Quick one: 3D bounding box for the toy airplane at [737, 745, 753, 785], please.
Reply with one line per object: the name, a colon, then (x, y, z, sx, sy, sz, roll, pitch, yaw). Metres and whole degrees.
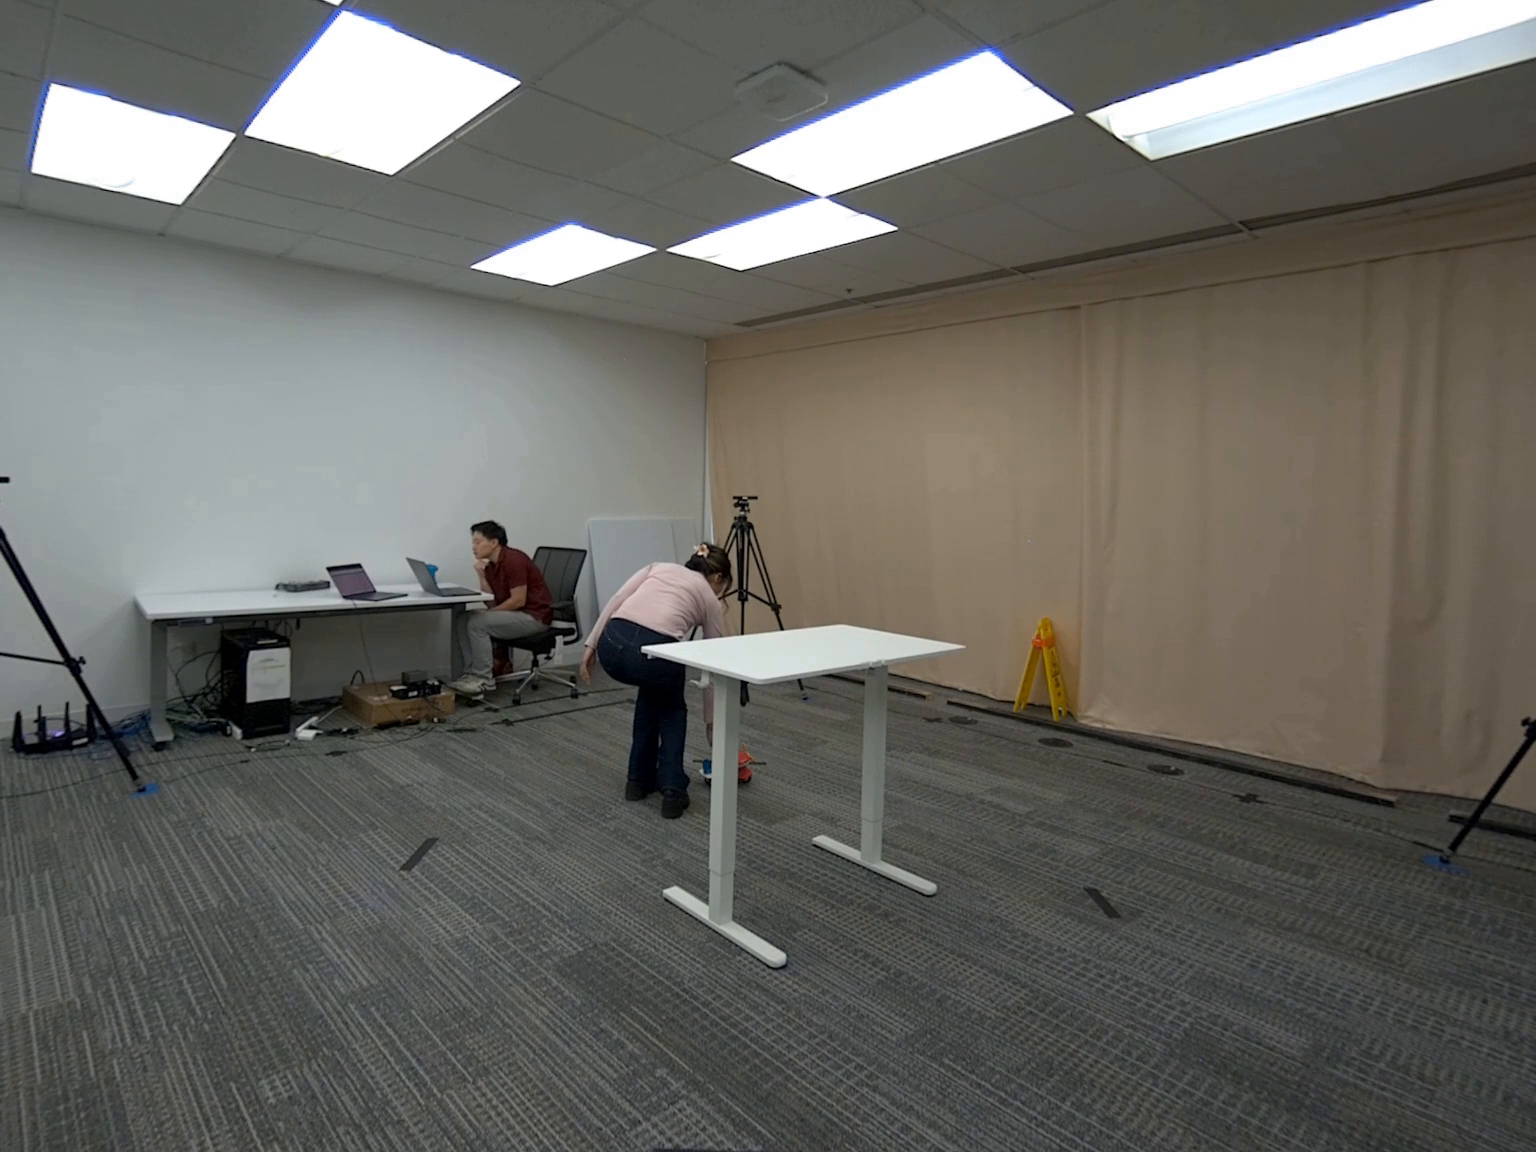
toy airplane: (-0.202, 0.941, 4.123, 0.257, 0.156, 0.254, 5, 4, 31)
